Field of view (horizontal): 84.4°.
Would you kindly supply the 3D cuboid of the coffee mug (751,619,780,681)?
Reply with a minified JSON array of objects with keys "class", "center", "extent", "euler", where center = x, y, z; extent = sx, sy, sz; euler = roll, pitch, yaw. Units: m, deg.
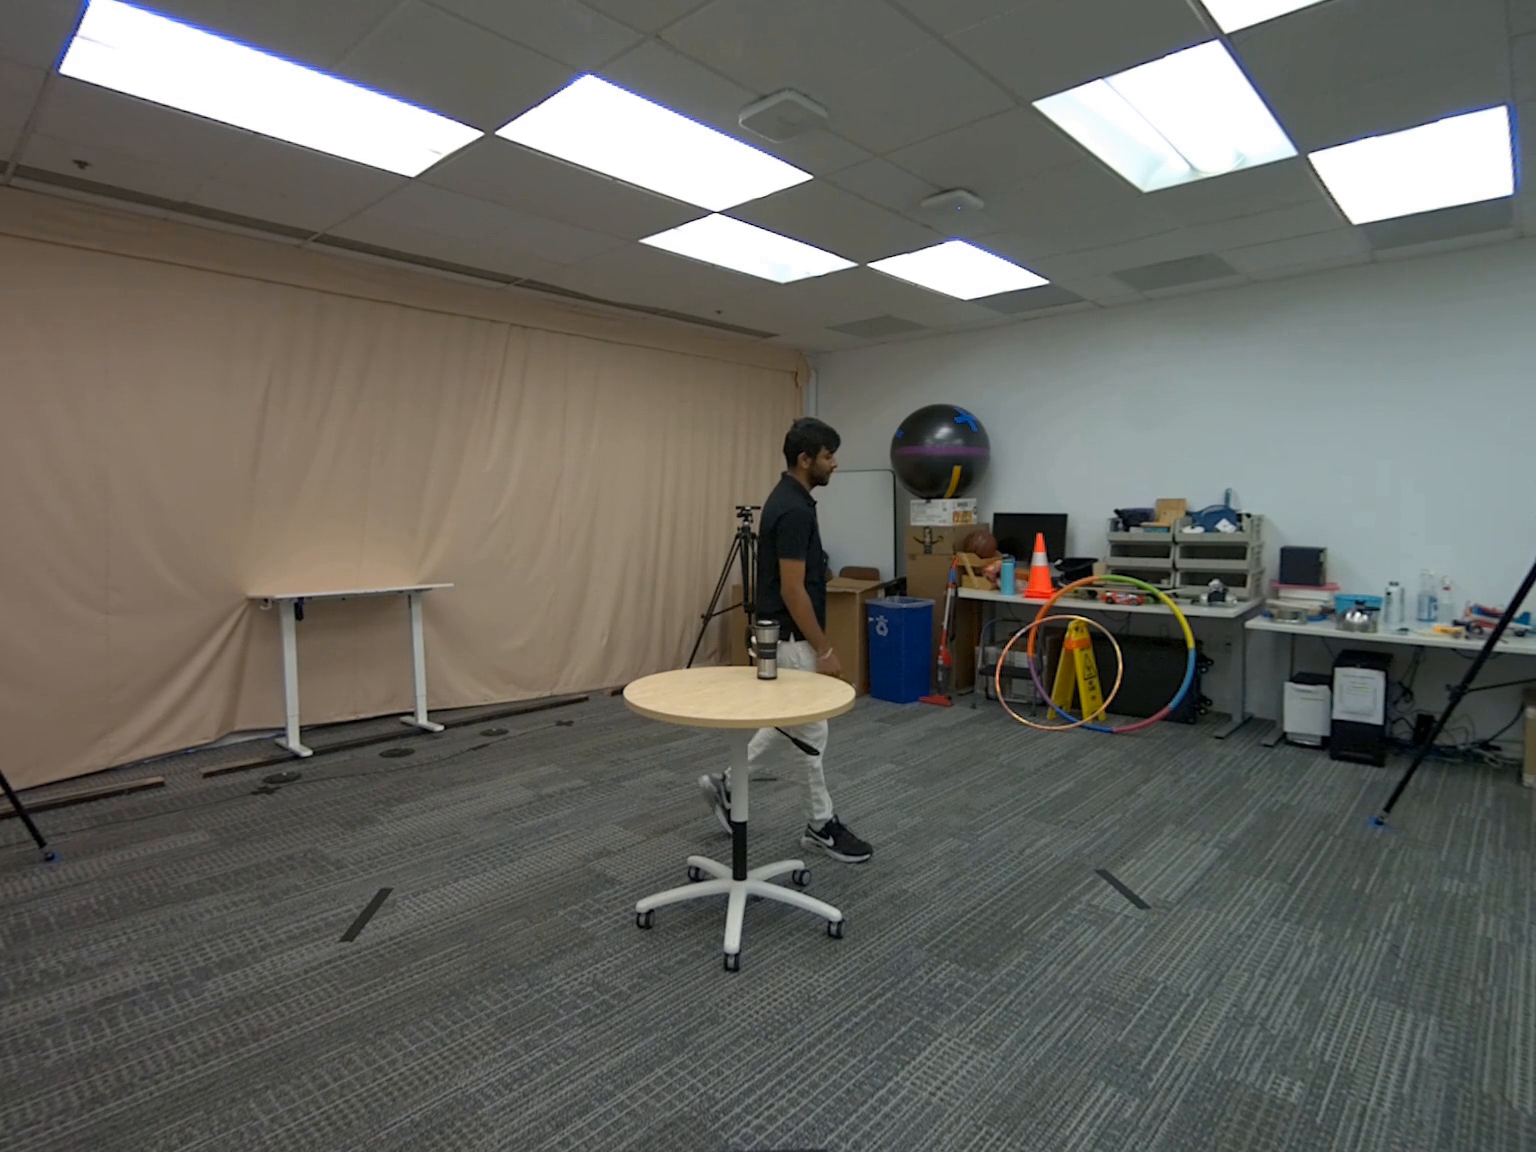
[{"class":"coffee mug","center":[-0.018,0.257,2.979],"extent":[0.126,0.202,0.085],"euler":[4,11,42]}]
